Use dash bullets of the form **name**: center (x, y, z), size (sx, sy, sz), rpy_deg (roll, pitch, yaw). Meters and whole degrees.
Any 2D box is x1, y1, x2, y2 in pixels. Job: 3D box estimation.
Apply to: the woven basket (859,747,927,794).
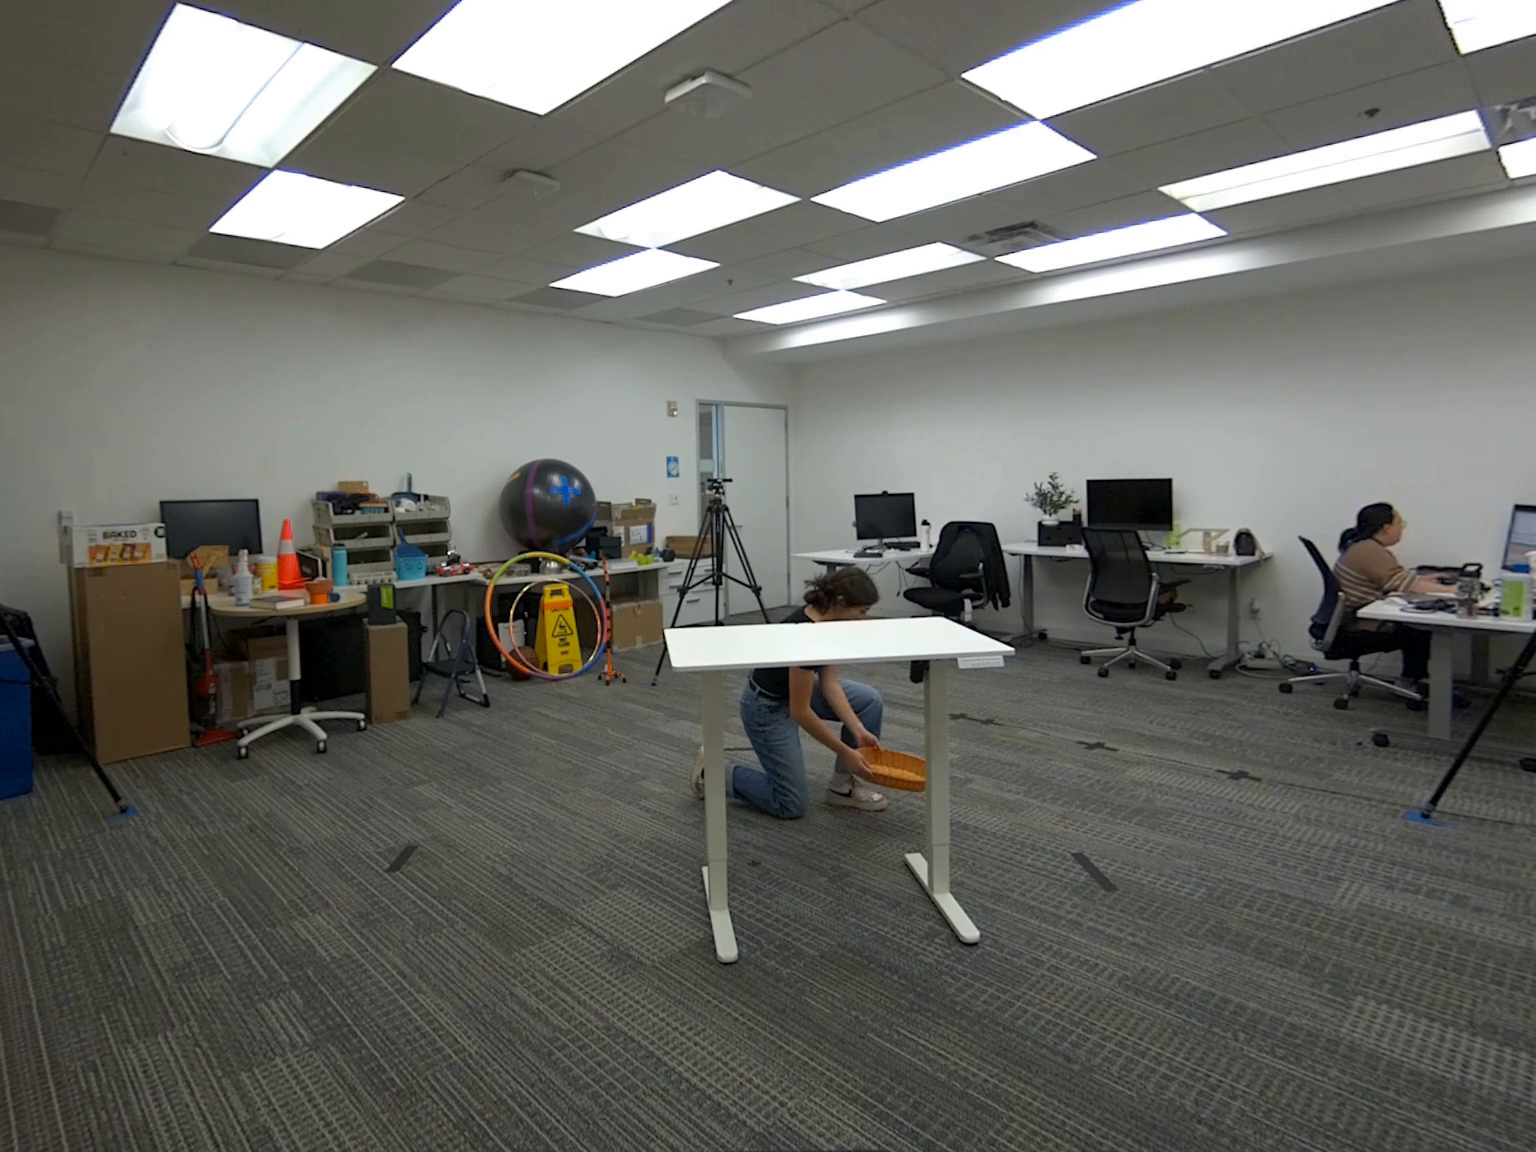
- **woven basket**: center (0.499, 0.774, 3.379), size (0.357, 0.073, 0.249), rpy_deg (10, 11, 17)
